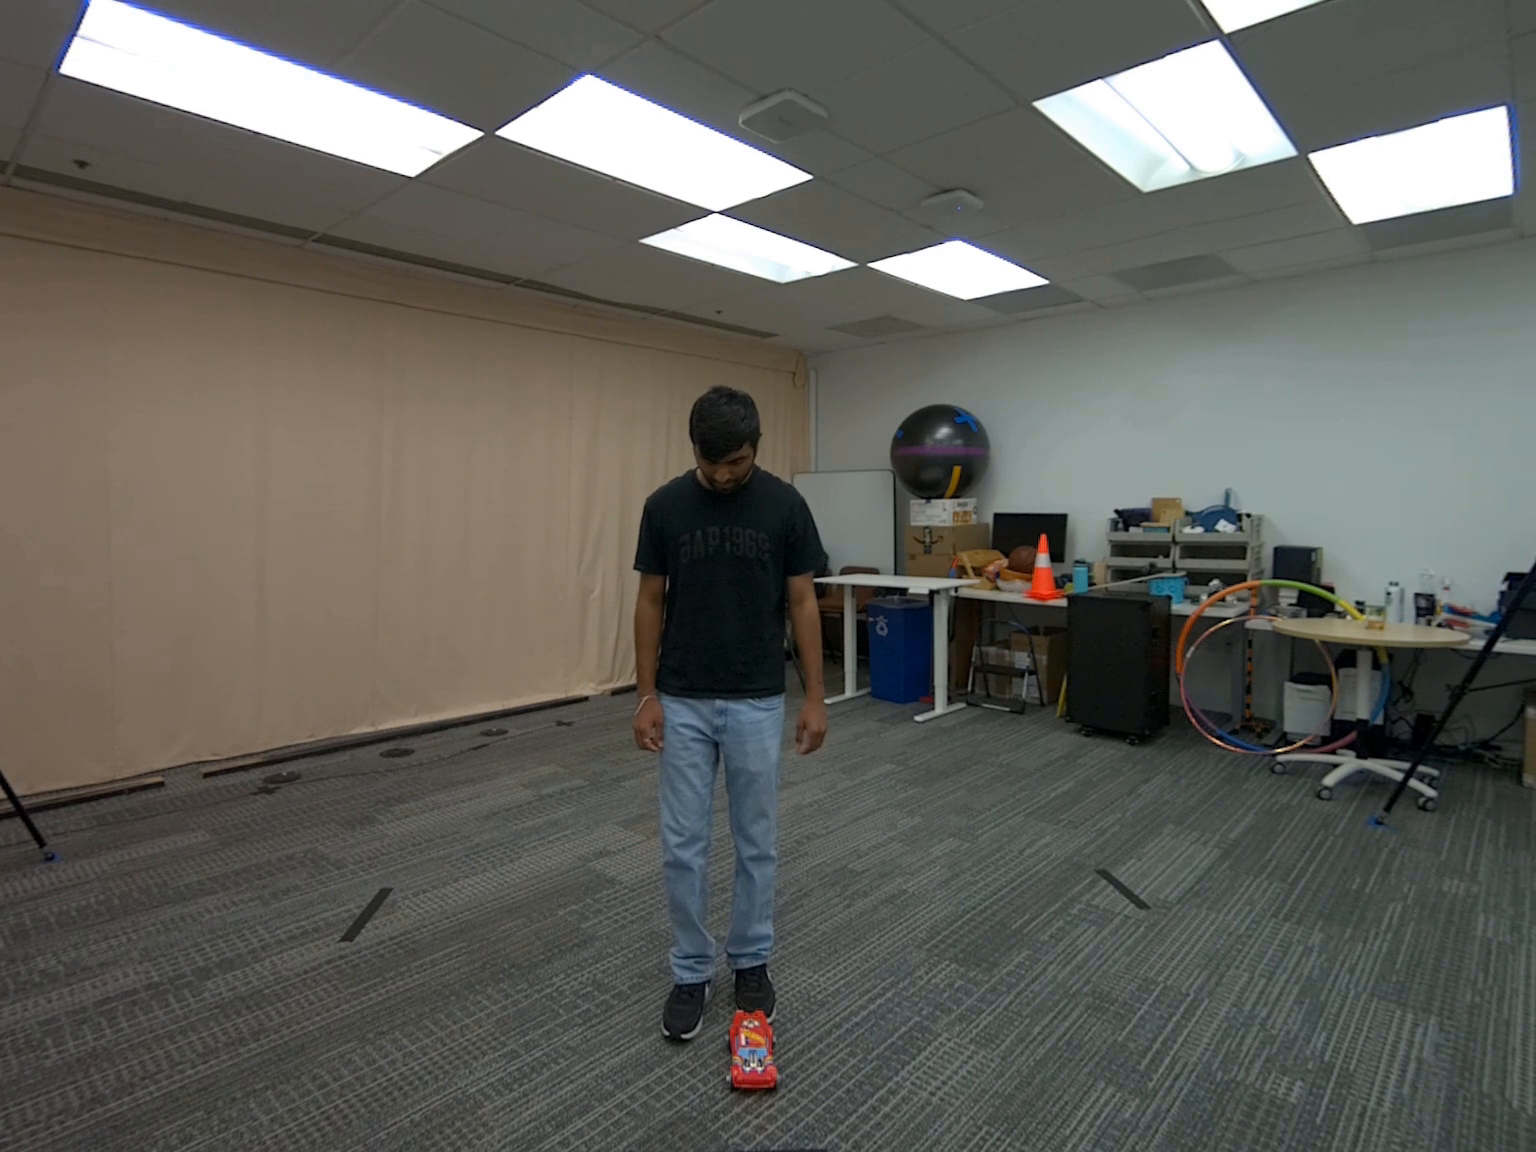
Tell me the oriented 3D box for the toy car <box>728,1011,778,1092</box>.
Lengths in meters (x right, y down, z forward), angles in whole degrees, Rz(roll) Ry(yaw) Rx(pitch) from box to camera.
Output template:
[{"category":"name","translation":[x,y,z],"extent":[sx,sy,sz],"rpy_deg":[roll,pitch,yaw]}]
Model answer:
[{"category":"toy car","translation":[-0.041,1.179,2.109],"extent":[0.130,0.082,0.257],"rpy_deg":[-1,16,-1]}]
